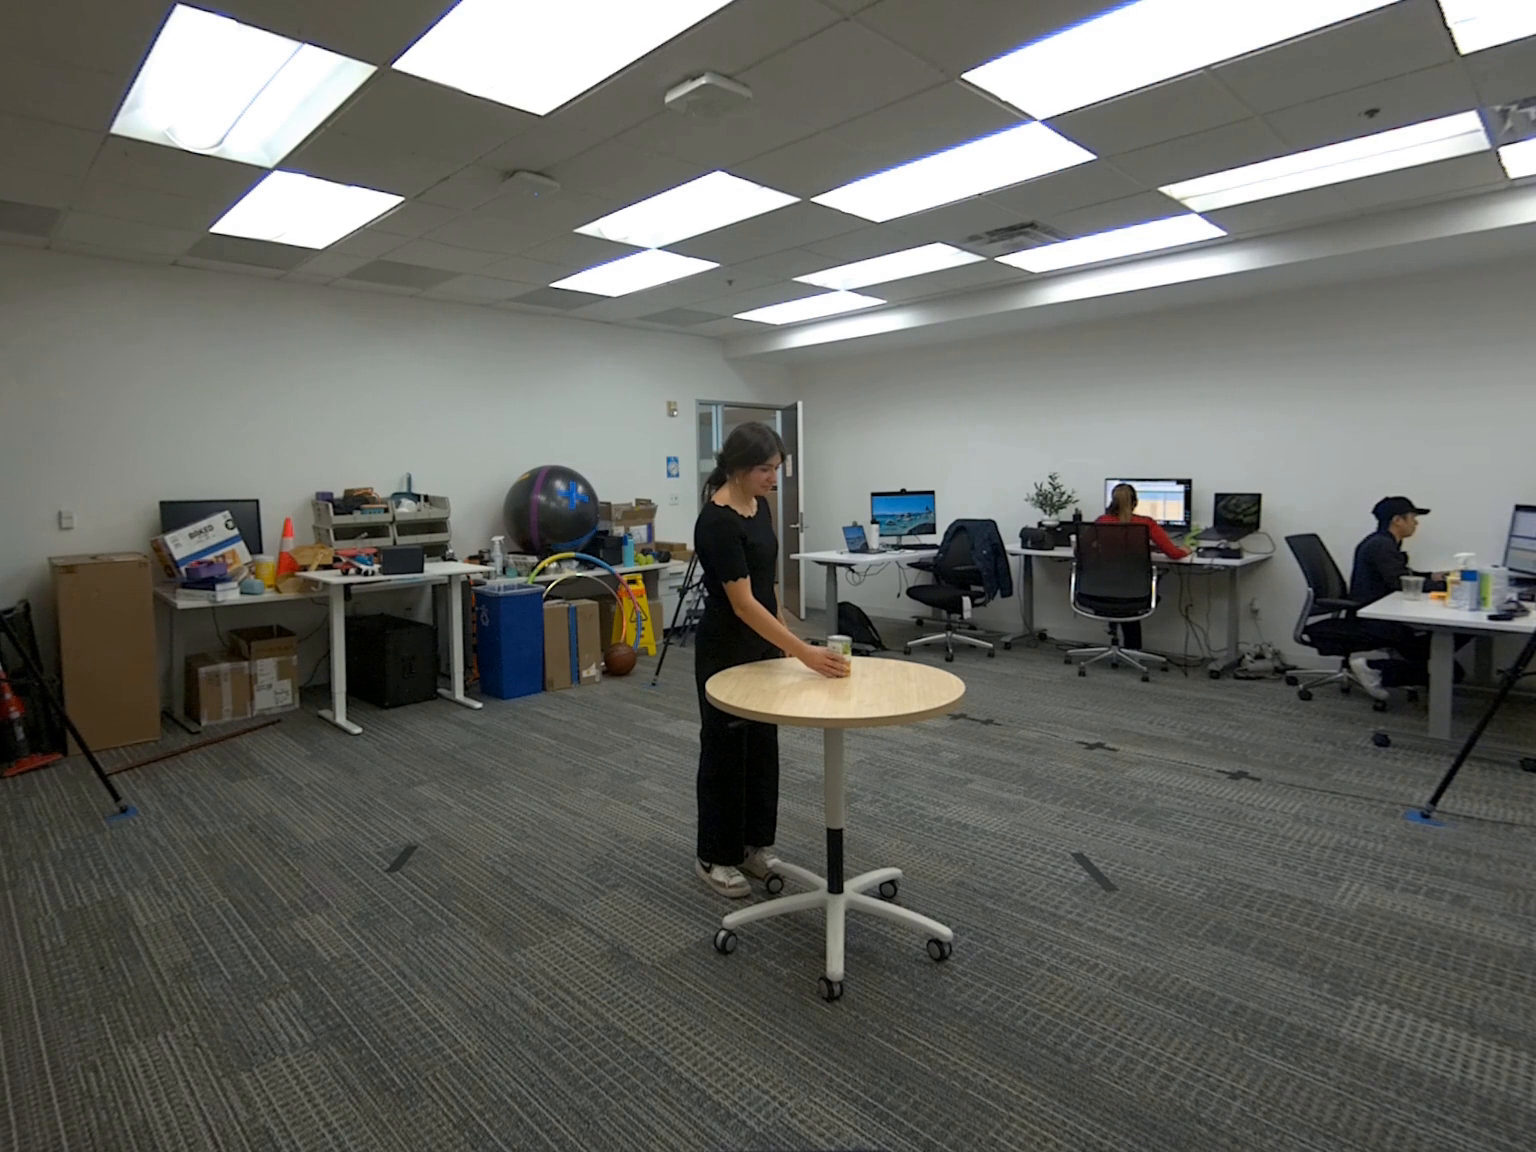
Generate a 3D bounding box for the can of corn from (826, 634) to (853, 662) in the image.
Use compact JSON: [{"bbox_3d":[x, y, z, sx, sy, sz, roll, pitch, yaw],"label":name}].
[{"bbox_3d":[0.222,0.243,2.646,0.074,0.110,0.075,-1,12,-1],"label":"can of corn"}]
